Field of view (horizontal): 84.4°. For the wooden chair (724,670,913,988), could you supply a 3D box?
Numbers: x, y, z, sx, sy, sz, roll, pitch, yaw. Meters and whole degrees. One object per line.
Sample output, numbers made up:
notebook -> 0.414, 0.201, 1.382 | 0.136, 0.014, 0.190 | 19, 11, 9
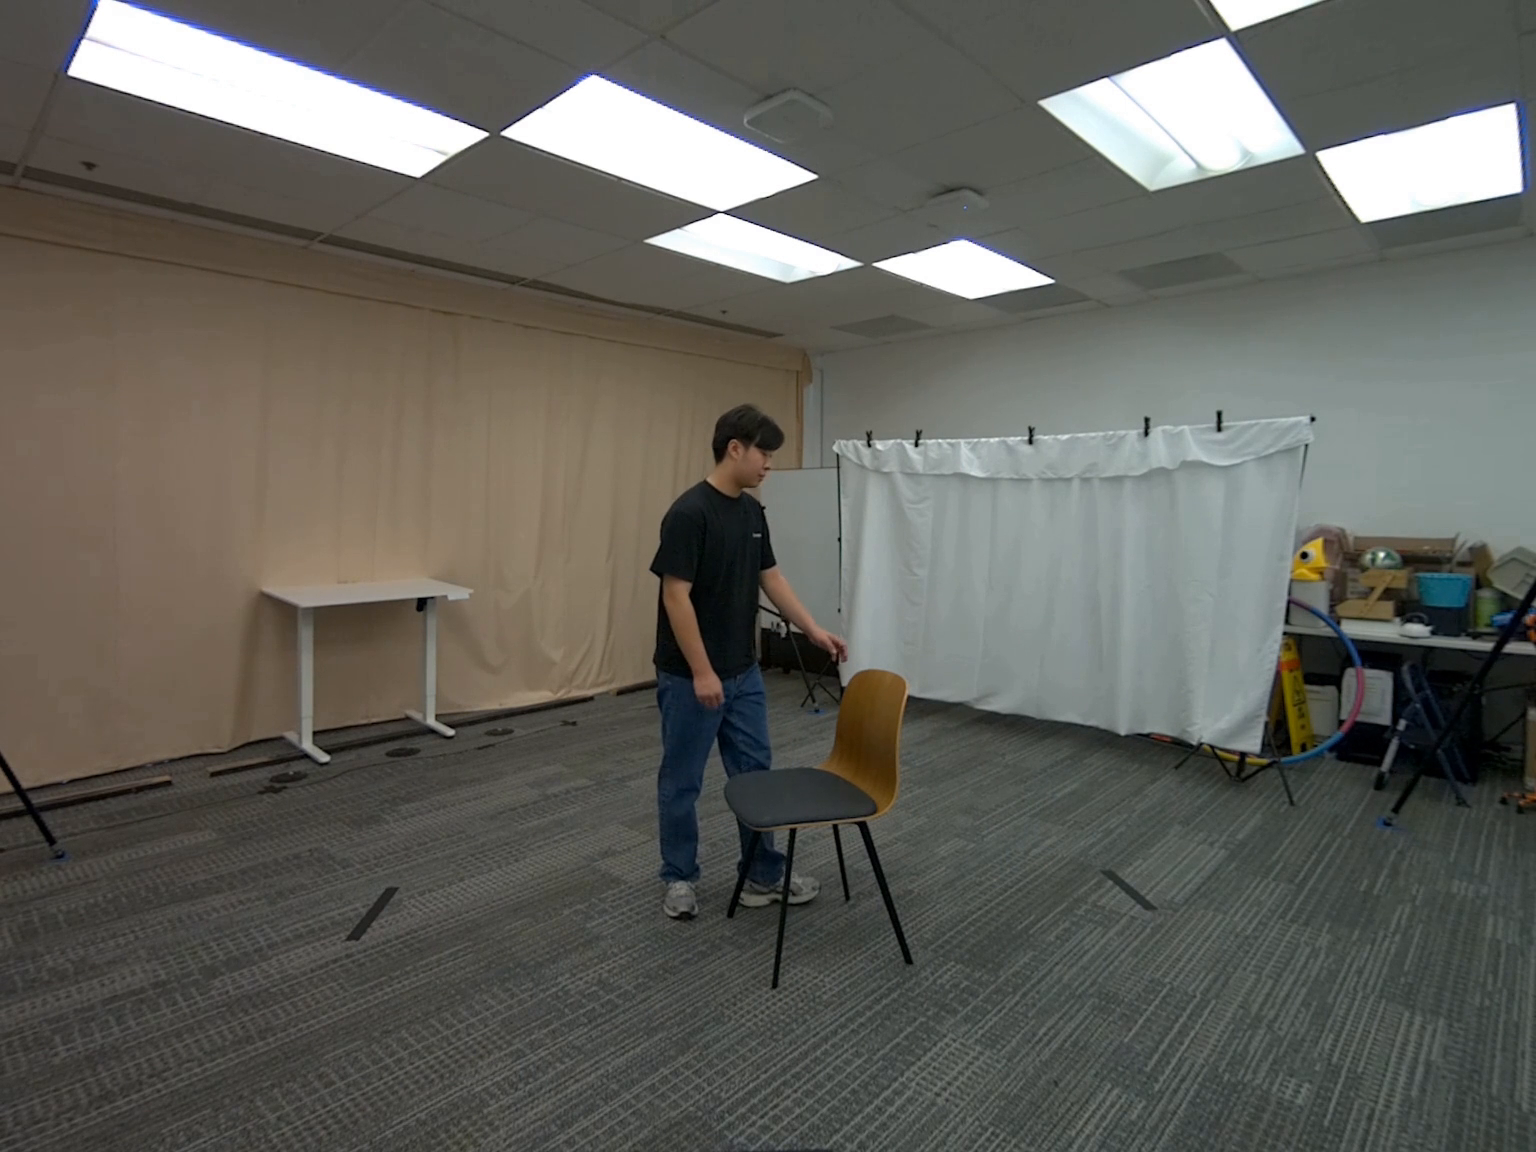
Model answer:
wooden chair -> 0.150, 0.742, 2.669 | 0.513, 0.876, 0.488 | 3, 2, -19
